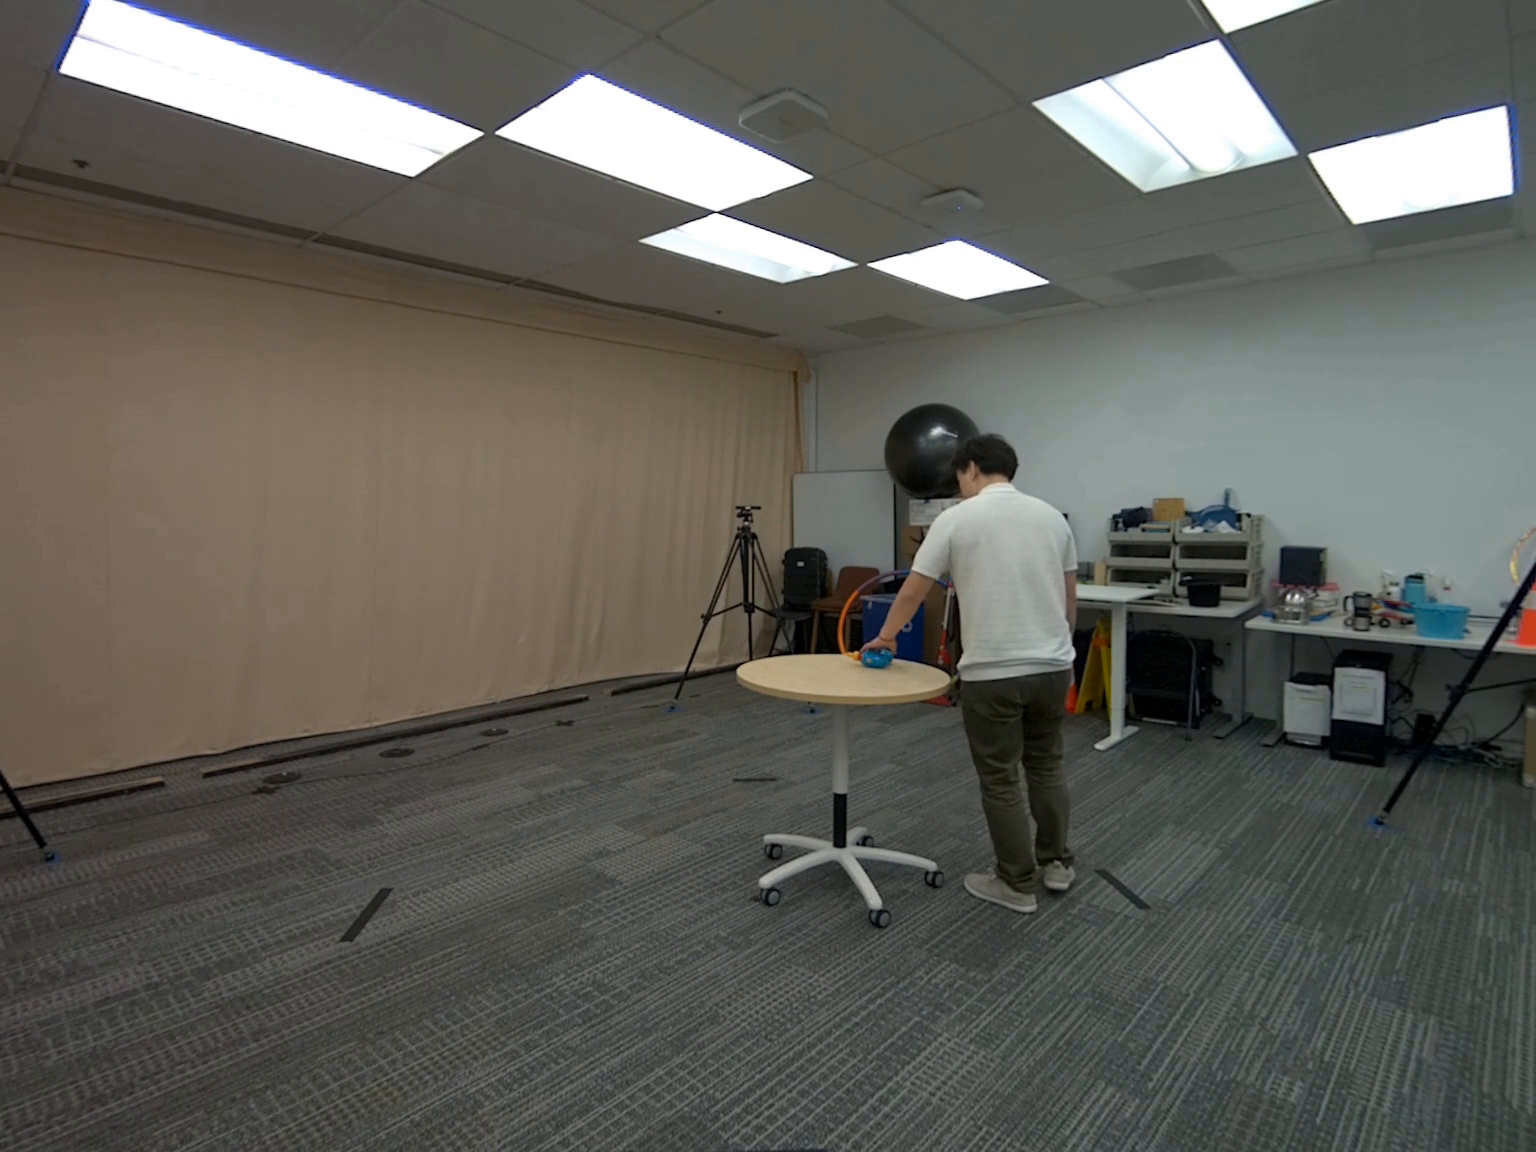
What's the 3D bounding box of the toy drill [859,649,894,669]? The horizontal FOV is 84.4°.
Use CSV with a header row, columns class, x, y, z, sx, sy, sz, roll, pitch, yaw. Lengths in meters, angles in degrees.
class,x,y,z,sx,sy,sz,roll,pitch,yaw
toy drill,0.404,0.313,3.213,0.174,0.061,0.142,6,5,24
